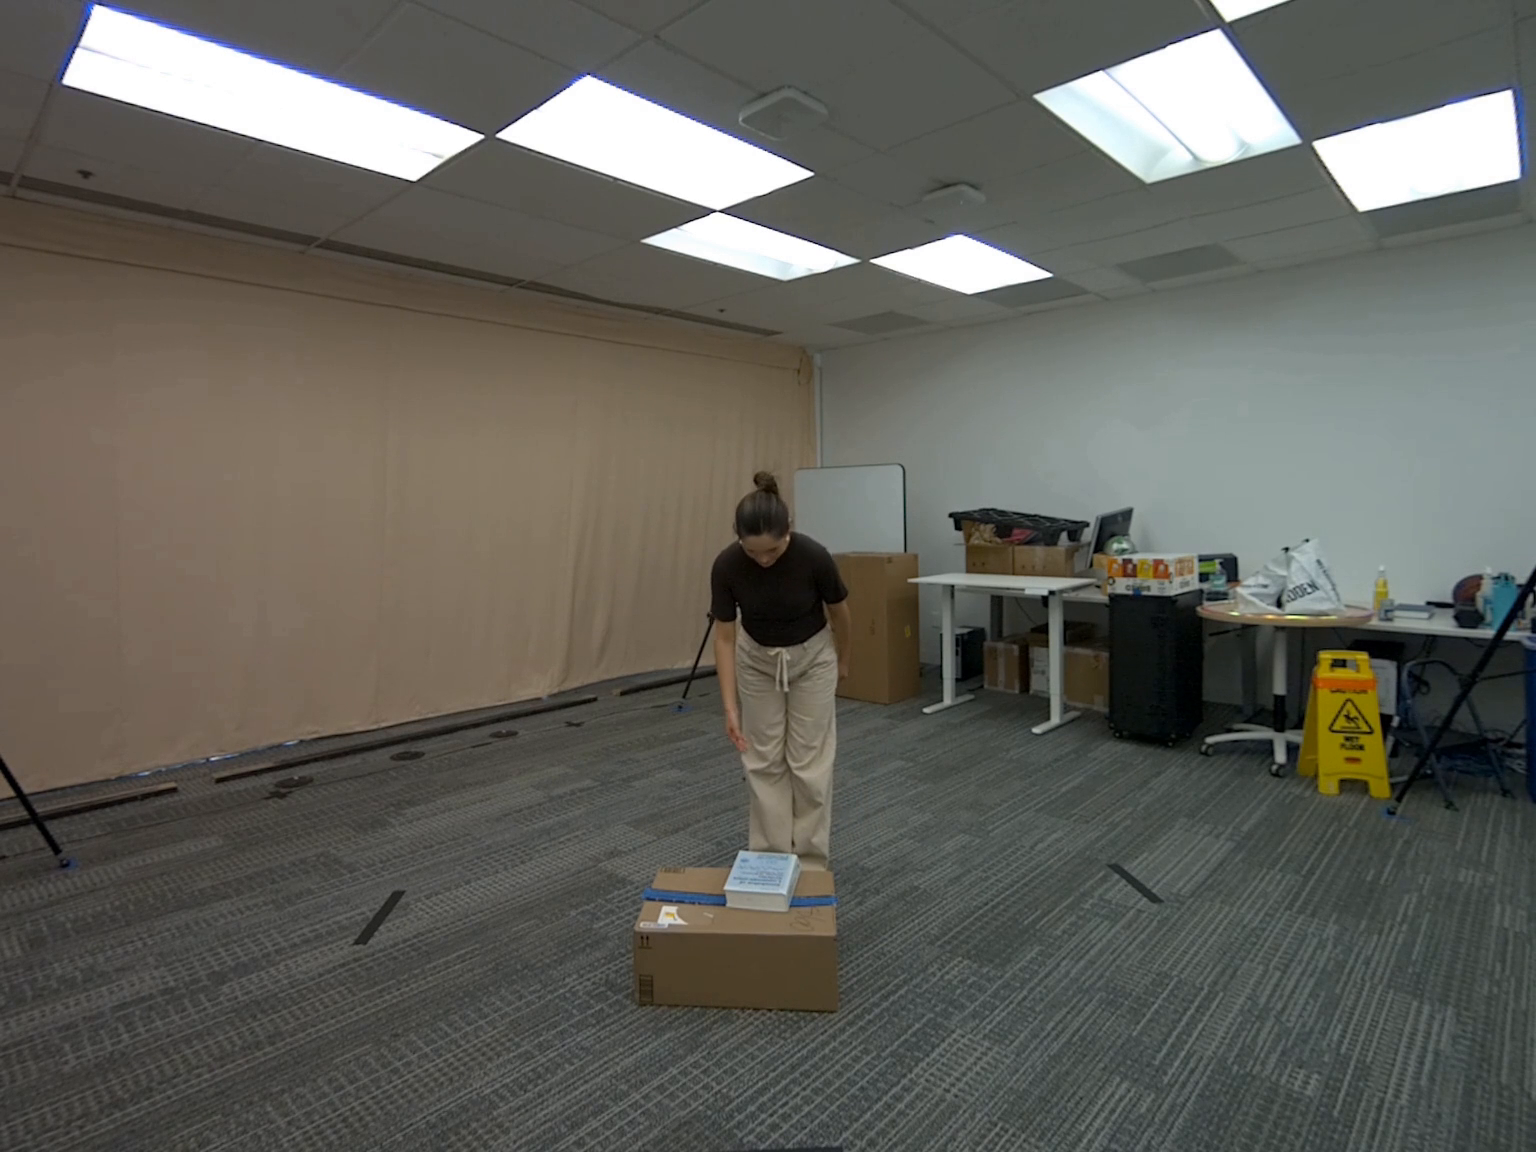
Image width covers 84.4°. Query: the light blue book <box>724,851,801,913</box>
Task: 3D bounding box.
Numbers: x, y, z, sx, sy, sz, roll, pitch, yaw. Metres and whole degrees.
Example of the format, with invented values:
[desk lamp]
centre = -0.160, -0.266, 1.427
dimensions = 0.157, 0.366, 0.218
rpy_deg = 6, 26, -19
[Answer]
[light blue book]
centre = -0.016, 0.928, 2.587
dimensions = 0.194, 0.059, 0.258
rpy_deg = -1, 6, 11
